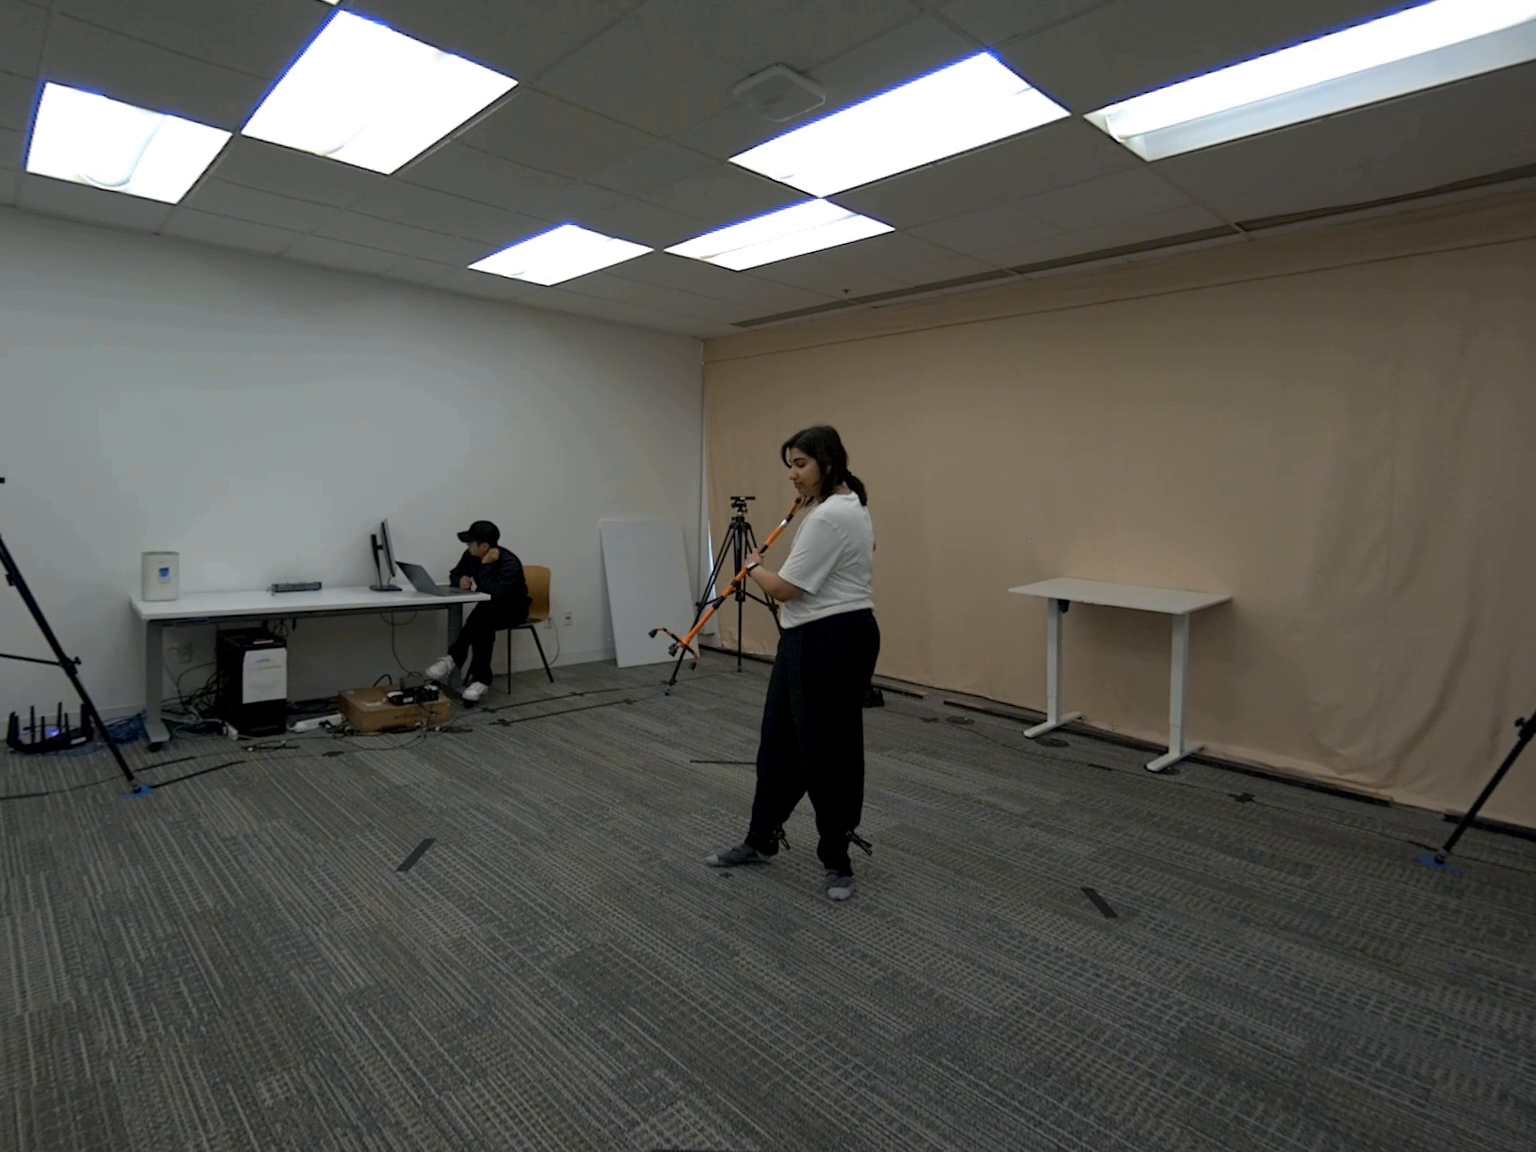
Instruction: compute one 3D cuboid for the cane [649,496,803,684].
[{"bbox_3d":[-0.090,-0.039,3.255,0.155,0.908,0.201,37,-6,26],"label":"cane"}]
